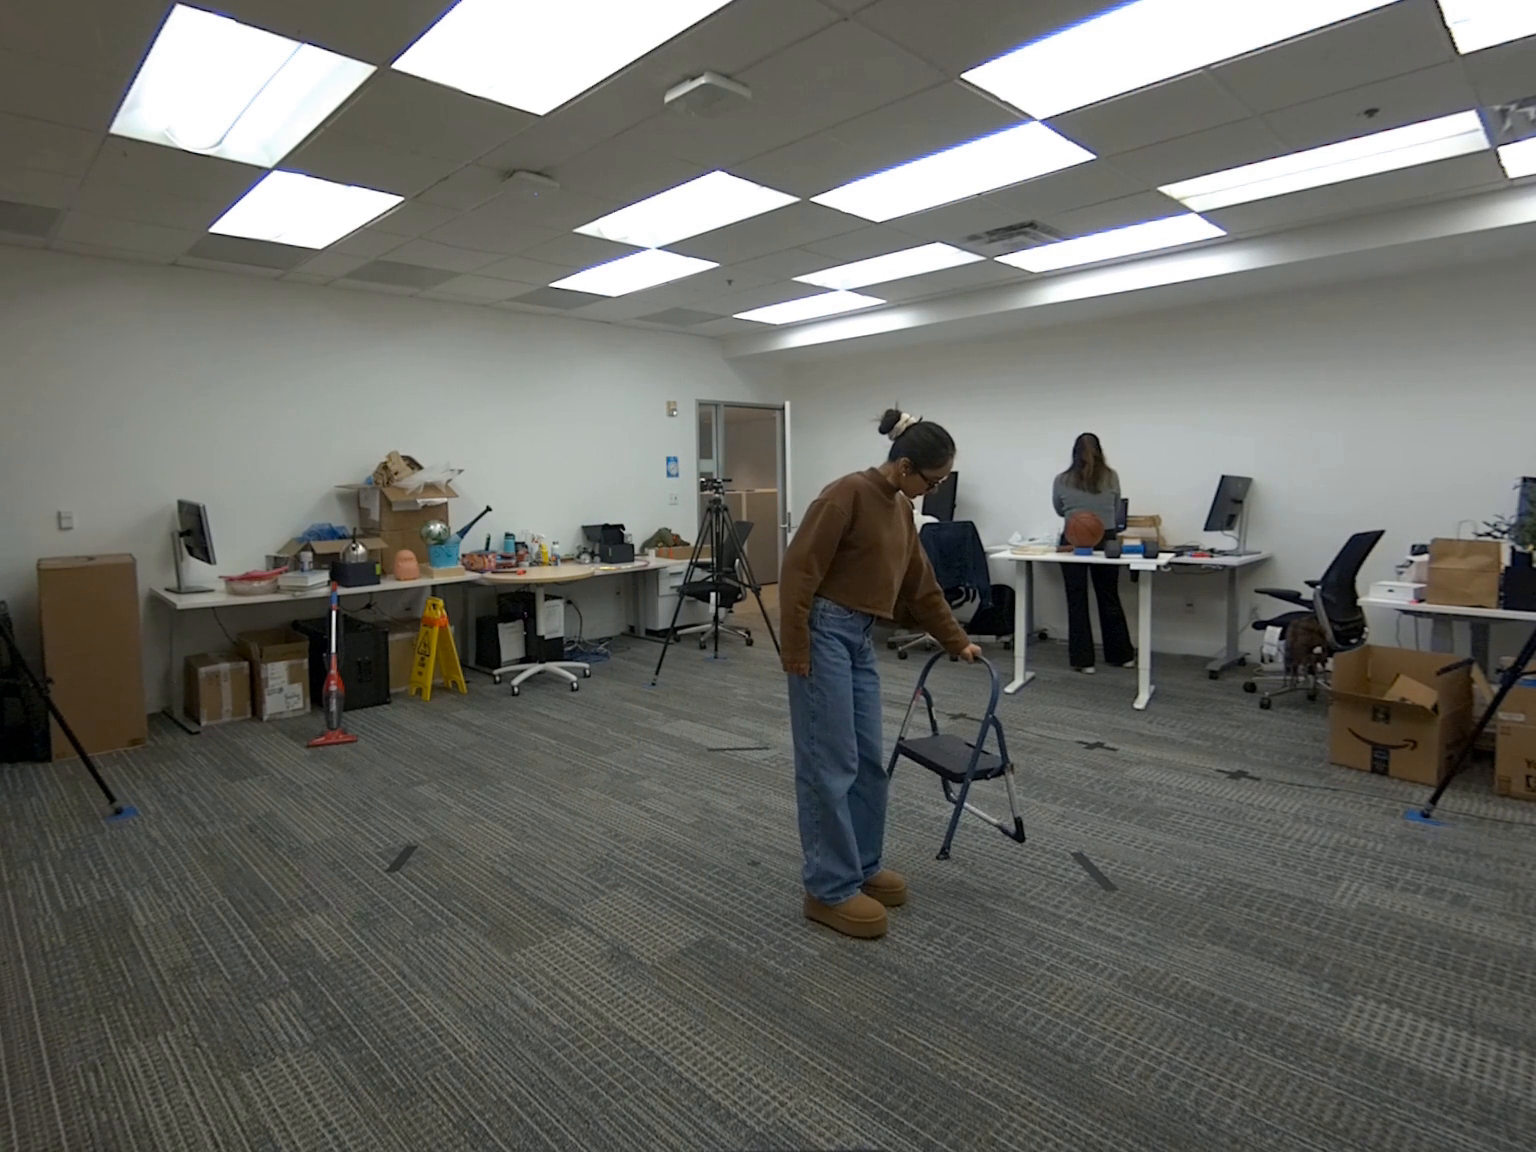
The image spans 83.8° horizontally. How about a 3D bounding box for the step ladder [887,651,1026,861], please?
[{"bbox_3d":[0.628,0.574,2.931,0.342,0.603,0.441,-2,5,-24],"label":"step ladder"}]
